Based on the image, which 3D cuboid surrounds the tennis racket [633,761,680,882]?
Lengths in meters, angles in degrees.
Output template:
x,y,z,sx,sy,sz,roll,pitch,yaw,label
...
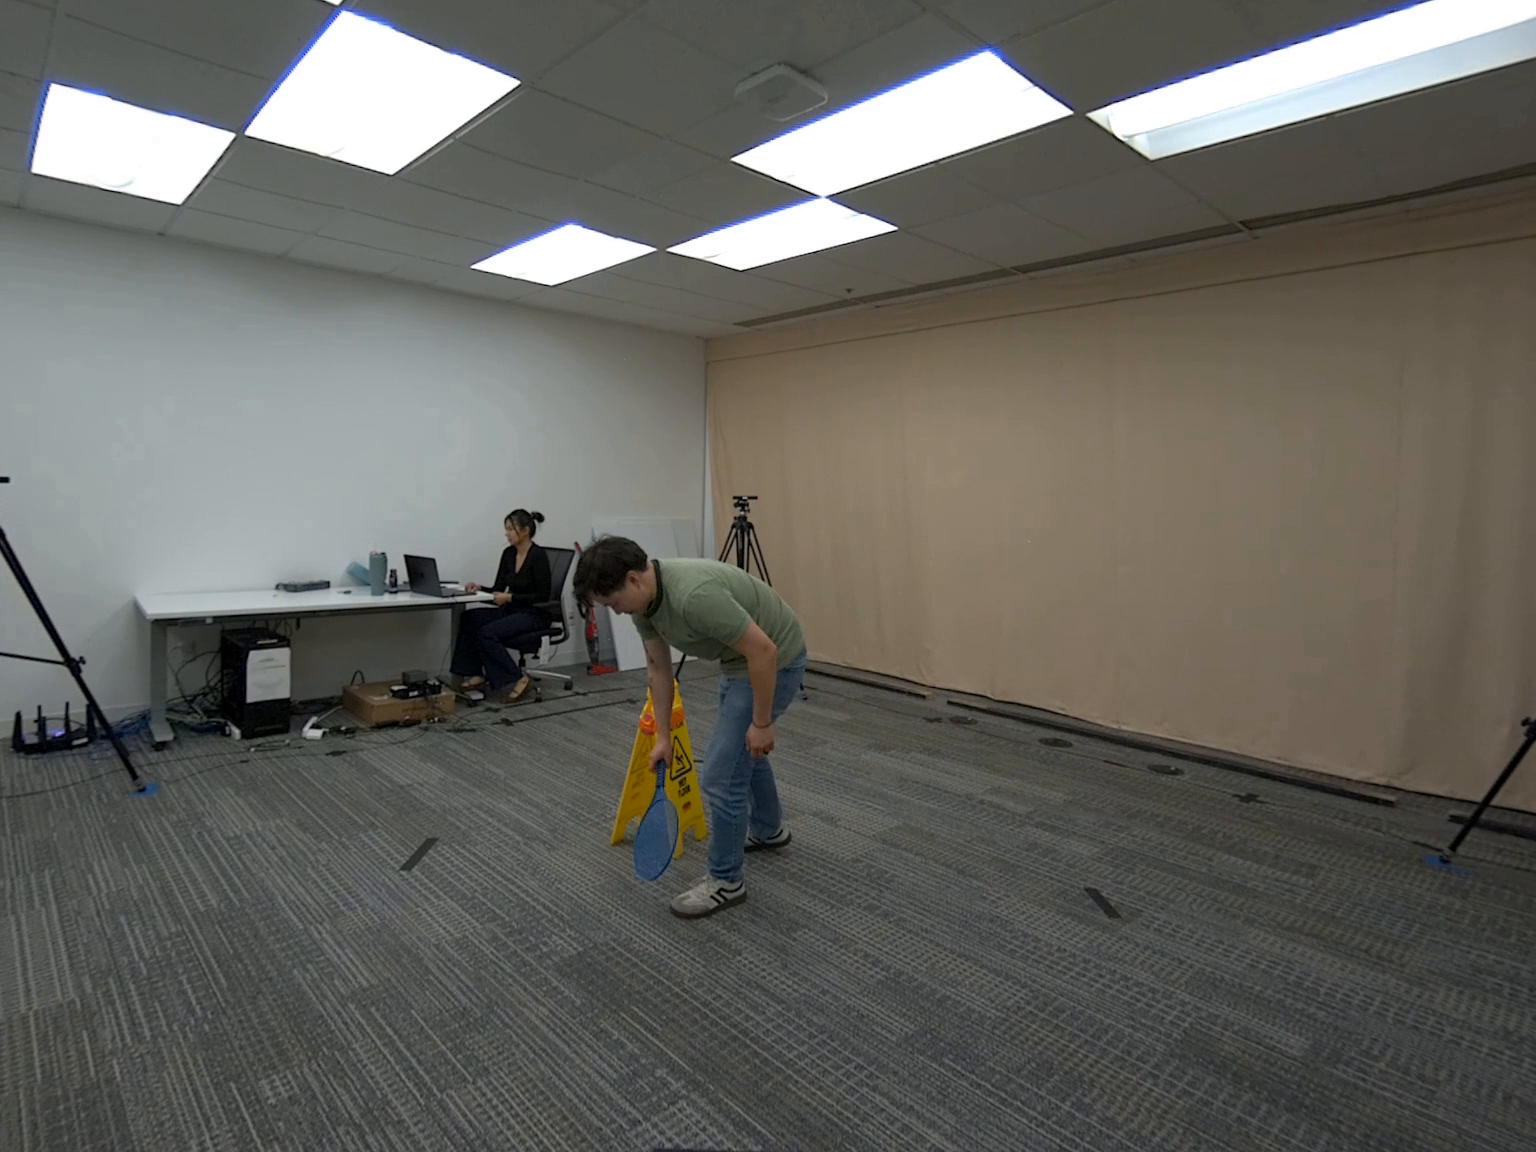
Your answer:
x,y,z,sx,sy,sz,roll,pitch,yaw,label
-0.368,0.801,2.800,0.031,0.442,0.215,33,-50,-32,tennis racket
